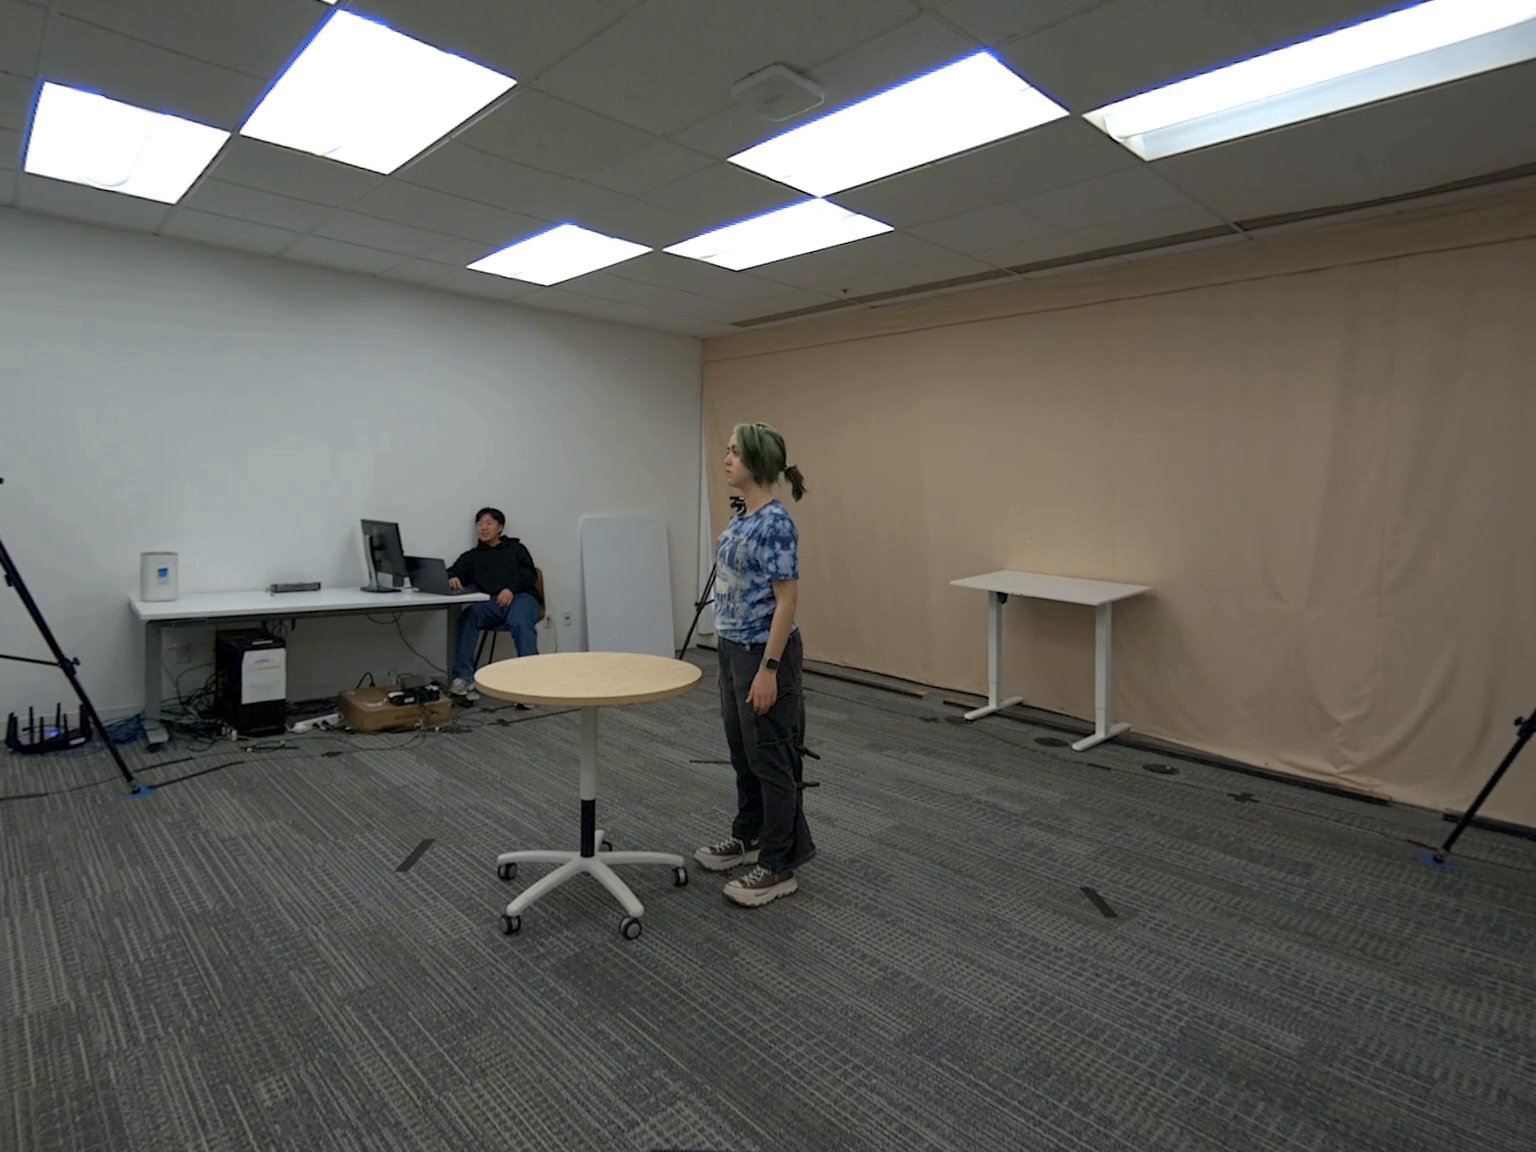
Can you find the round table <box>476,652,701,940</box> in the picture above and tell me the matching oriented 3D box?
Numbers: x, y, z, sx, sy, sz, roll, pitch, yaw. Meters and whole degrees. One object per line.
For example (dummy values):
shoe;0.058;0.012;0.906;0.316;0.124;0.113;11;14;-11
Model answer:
round table;-0.630;0.724;2.907;0.763;0.792;0.766;1;4;-1
